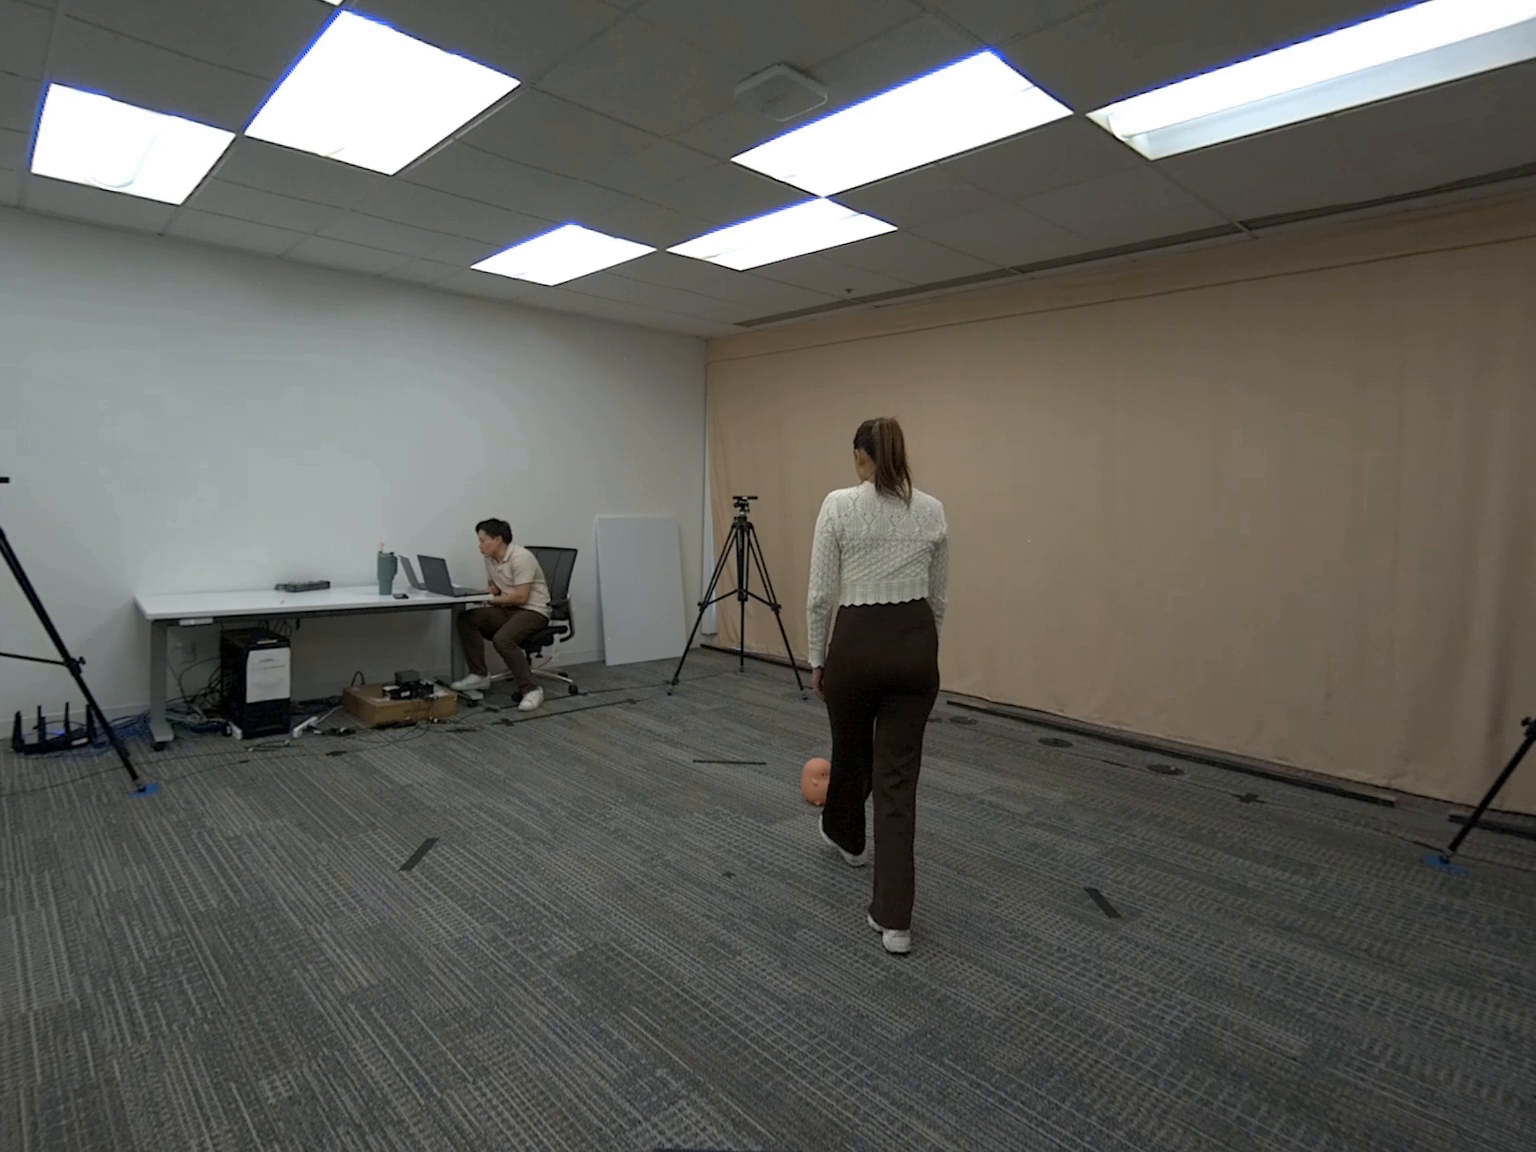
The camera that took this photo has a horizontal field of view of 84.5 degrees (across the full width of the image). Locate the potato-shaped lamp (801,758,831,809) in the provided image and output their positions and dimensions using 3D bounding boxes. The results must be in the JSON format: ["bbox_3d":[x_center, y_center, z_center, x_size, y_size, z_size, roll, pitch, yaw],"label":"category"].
[{"bbox_3d":[0.224,0.942,3.901,0.161,0.197,0.175,-2,4,-30],"label":"potato-shaped lamp"}]
